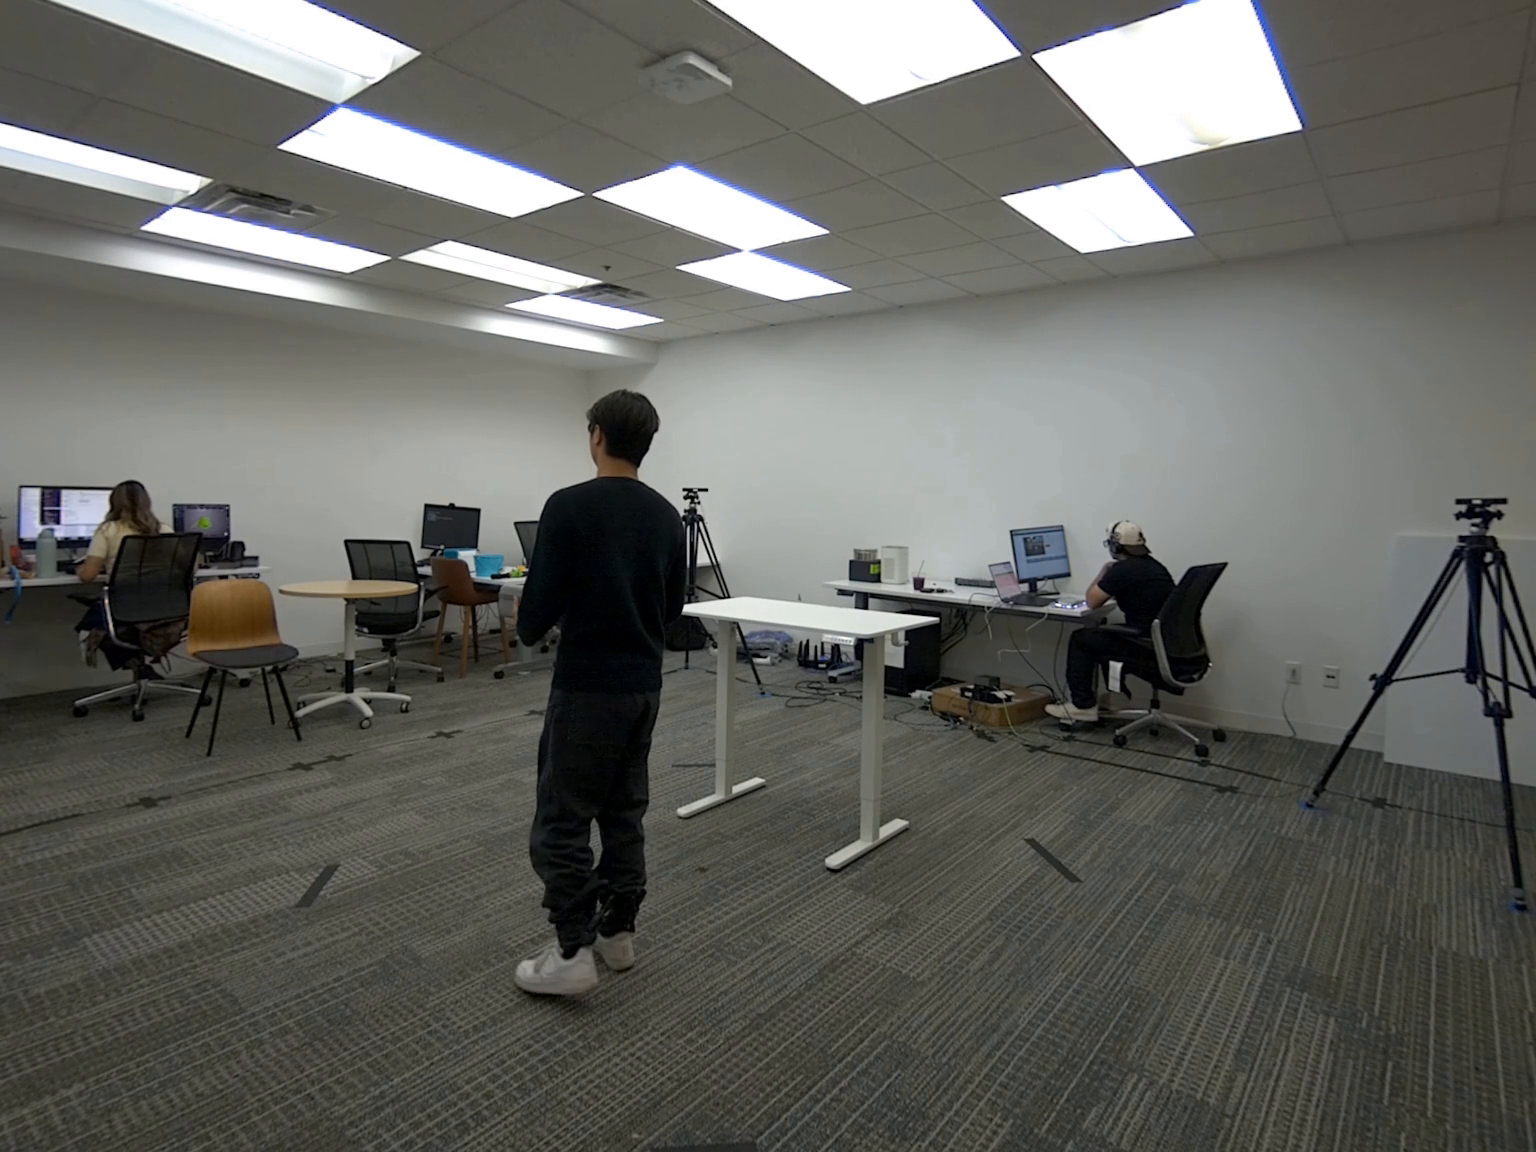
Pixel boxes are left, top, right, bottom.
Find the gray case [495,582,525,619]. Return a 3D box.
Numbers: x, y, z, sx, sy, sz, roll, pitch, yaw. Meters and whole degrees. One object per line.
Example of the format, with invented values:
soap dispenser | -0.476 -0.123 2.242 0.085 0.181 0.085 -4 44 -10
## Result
gray case | -0.698 0.085 2.711 0.252 0.104 0.265 5 -2 -40
